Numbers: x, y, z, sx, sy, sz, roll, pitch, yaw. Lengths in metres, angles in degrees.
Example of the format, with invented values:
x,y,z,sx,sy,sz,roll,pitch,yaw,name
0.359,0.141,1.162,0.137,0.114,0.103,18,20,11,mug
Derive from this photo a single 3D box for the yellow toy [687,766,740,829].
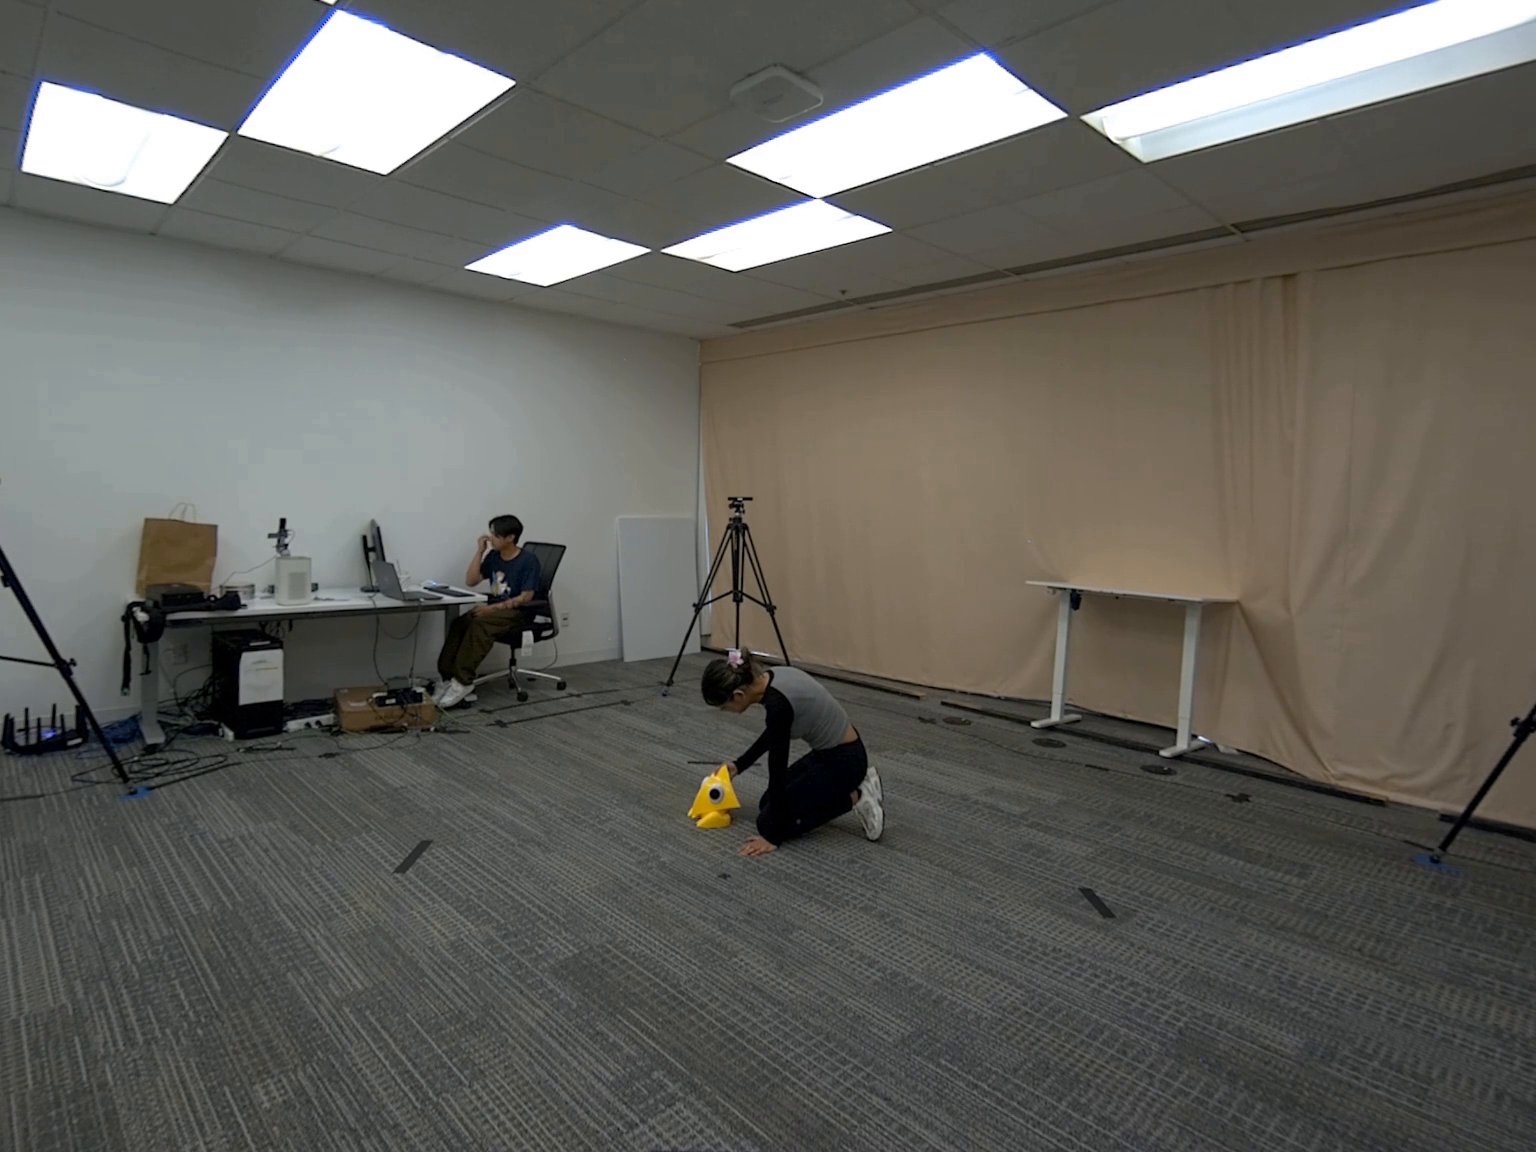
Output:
x,y,z,sx,sy,sz,roll,pitch,yaw,name
-0.248,0.939,3.661,0.190,0.230,0.208,0,4,-22,yellow toy
